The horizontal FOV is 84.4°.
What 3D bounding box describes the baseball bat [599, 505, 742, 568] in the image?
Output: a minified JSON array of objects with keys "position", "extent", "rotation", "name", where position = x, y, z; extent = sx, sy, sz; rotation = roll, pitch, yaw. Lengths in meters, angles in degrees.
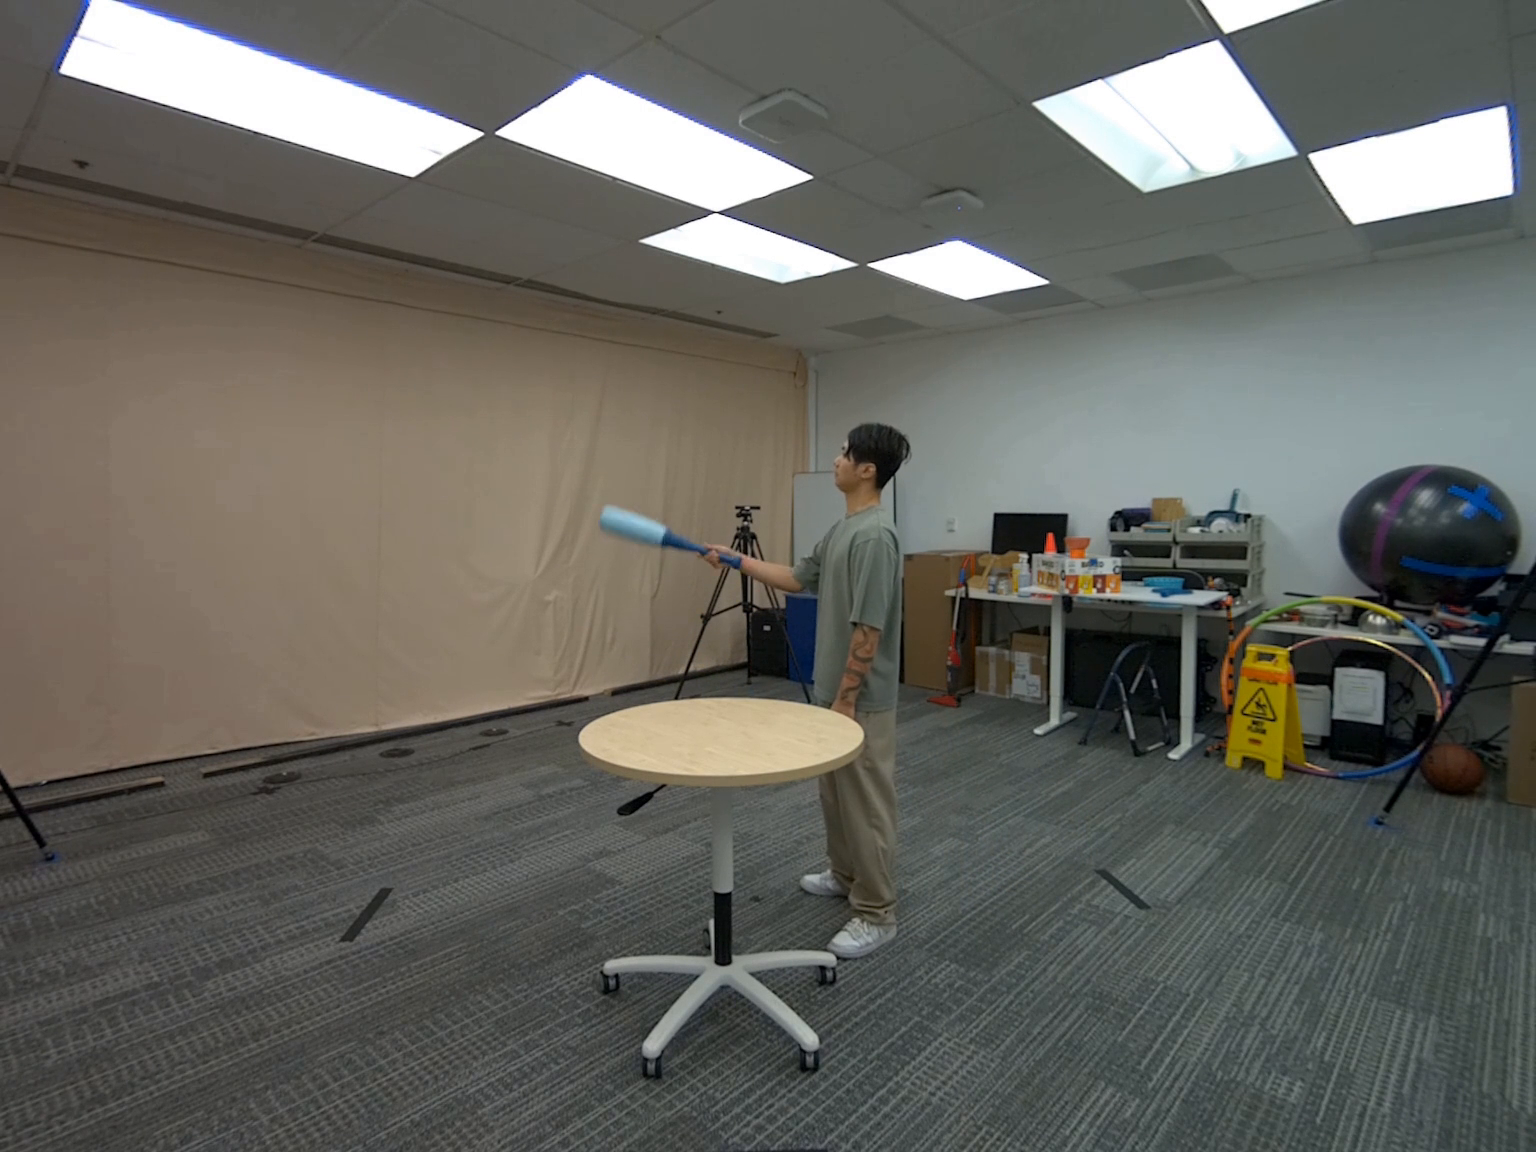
[{"position":[-0.324,-0.102,3.036],"extent":[0.553,0.089,0.087],"rotation":[23,9,15],"name":"baseball bat"}]
